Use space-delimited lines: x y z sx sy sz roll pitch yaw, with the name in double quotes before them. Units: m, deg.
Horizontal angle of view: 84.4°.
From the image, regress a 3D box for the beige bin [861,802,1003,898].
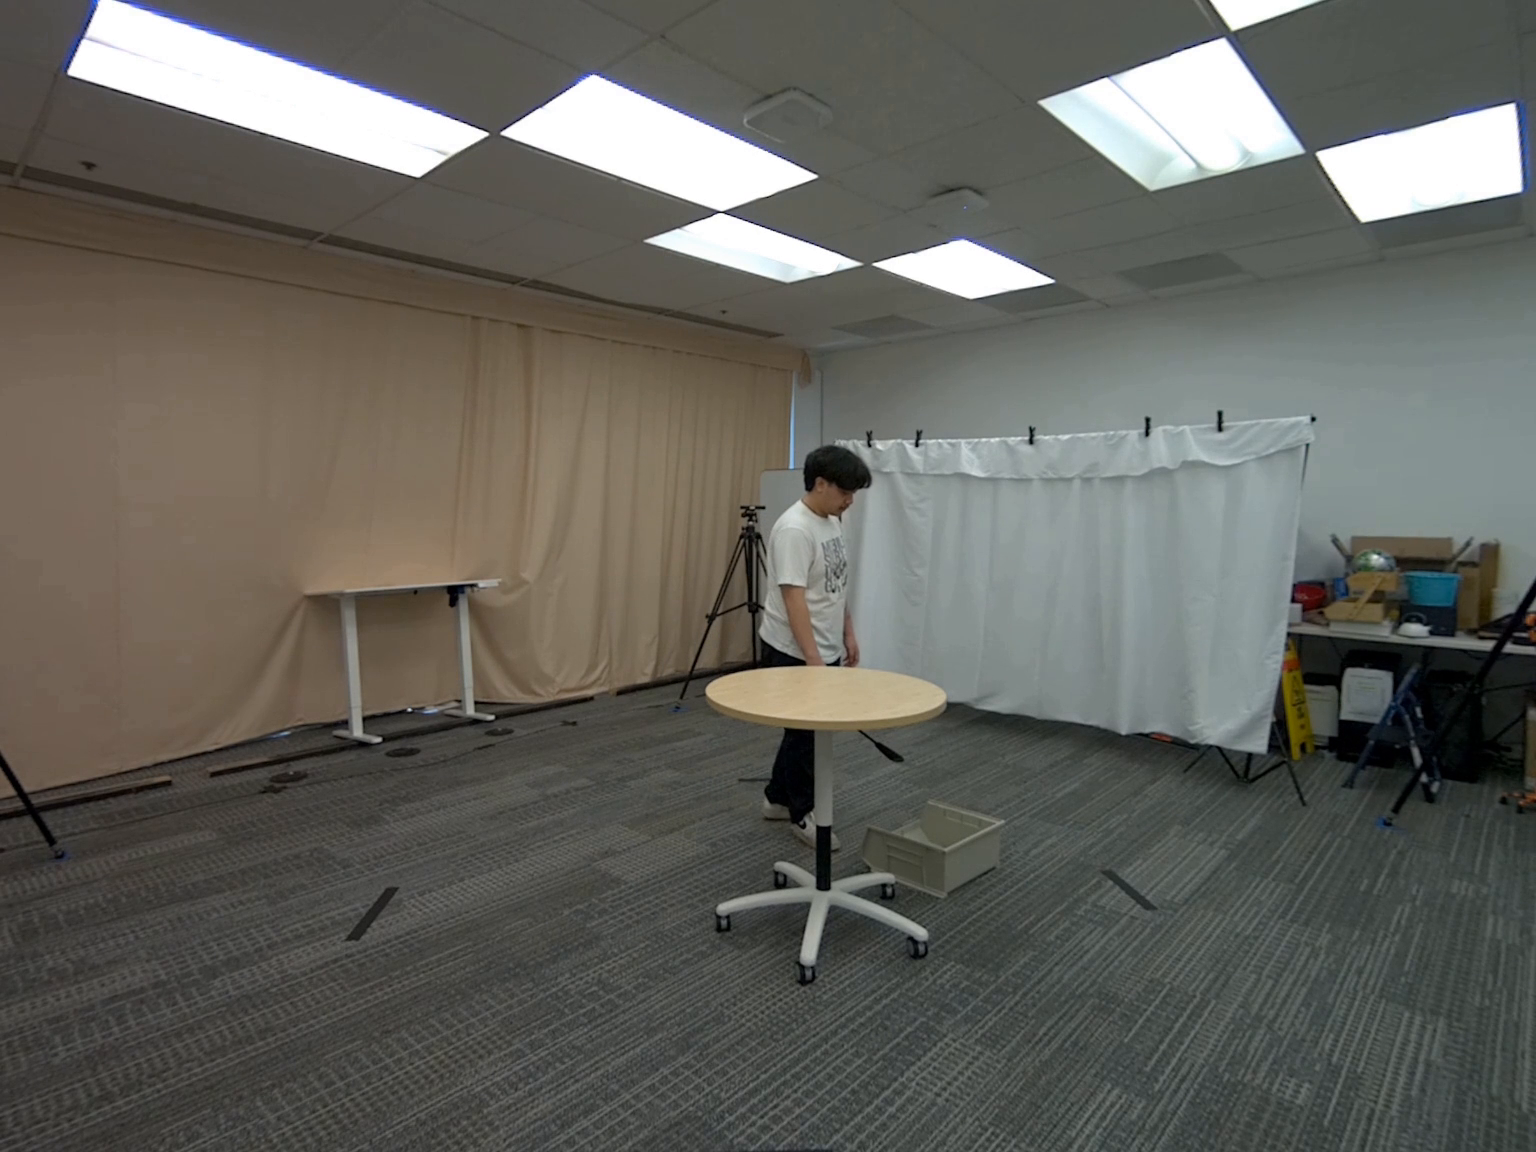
"beige bin" 0.635 1.033 3.236 0.409 0.188 0.390 -4 7 -45
